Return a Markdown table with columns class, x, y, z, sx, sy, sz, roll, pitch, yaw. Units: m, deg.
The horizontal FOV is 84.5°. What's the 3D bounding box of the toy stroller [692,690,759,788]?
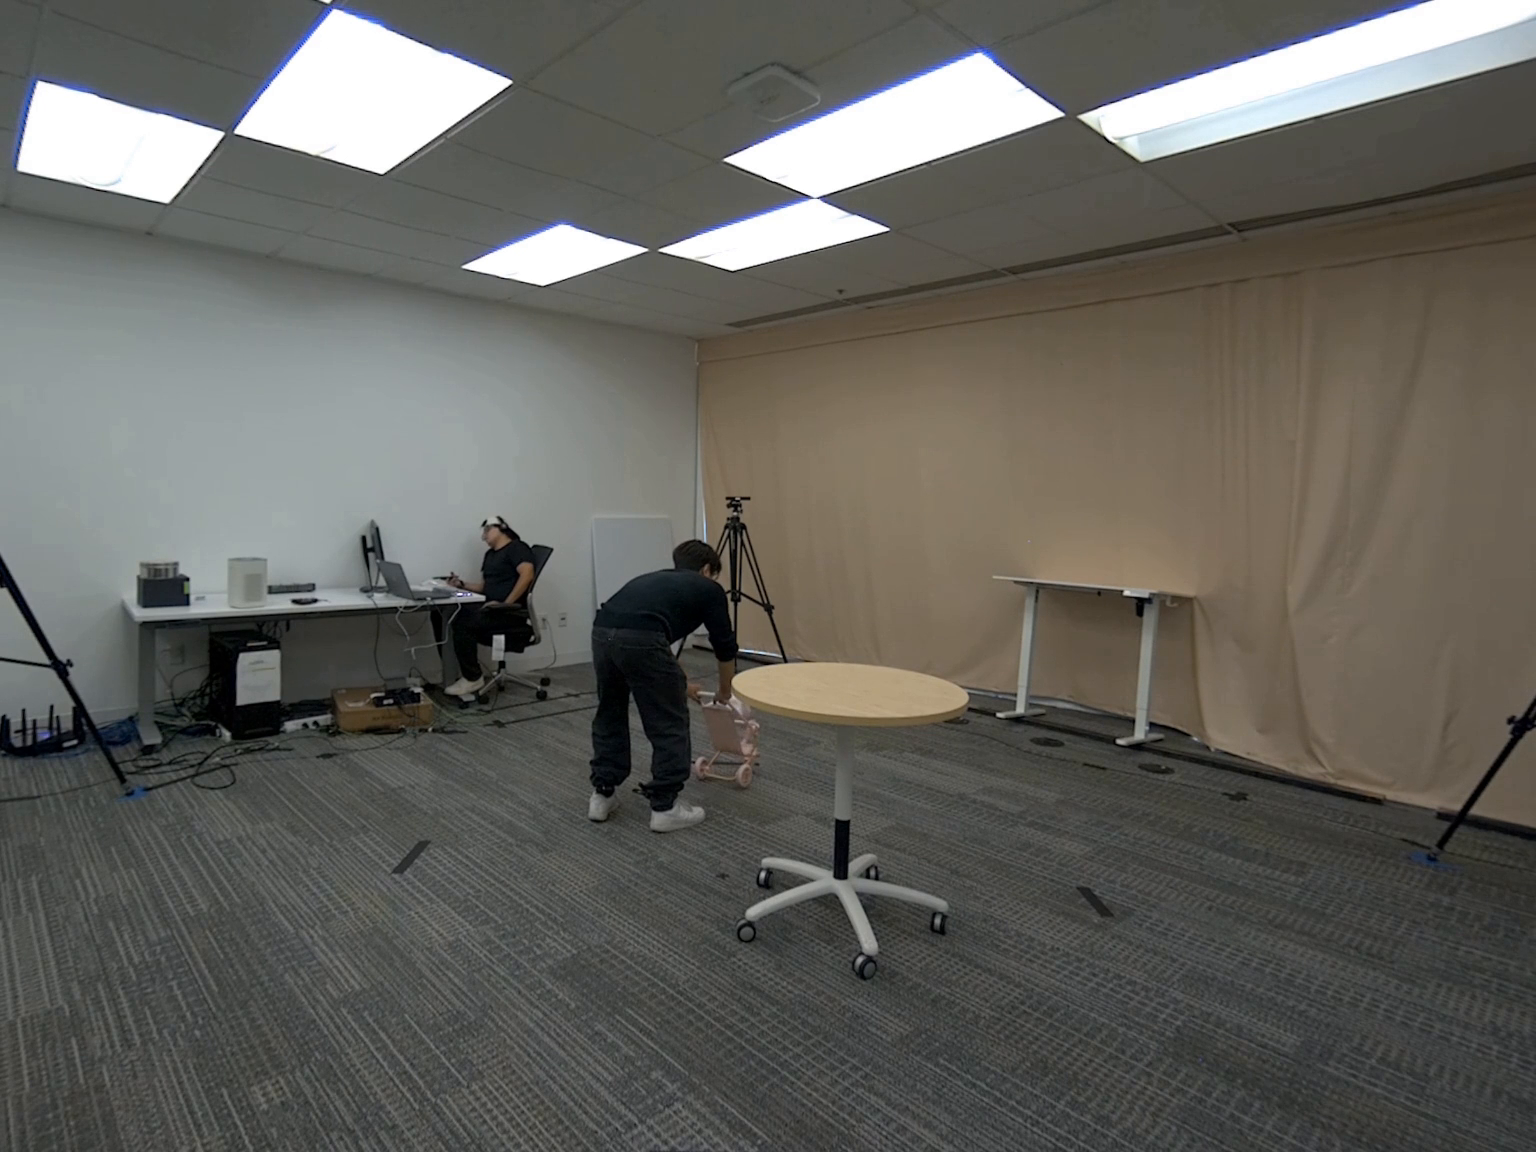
| class | x | y | z | sx | sy | sz | roll | pitch | yaw |
| --- | --- | --- | --- | --- | --- | --- | --- | --- | --- |
| toy stroller | -0.196 | 0.780 | 4.179 | 0.288 | 0.530 | 0.336 | 1 | 14 | 36 |
